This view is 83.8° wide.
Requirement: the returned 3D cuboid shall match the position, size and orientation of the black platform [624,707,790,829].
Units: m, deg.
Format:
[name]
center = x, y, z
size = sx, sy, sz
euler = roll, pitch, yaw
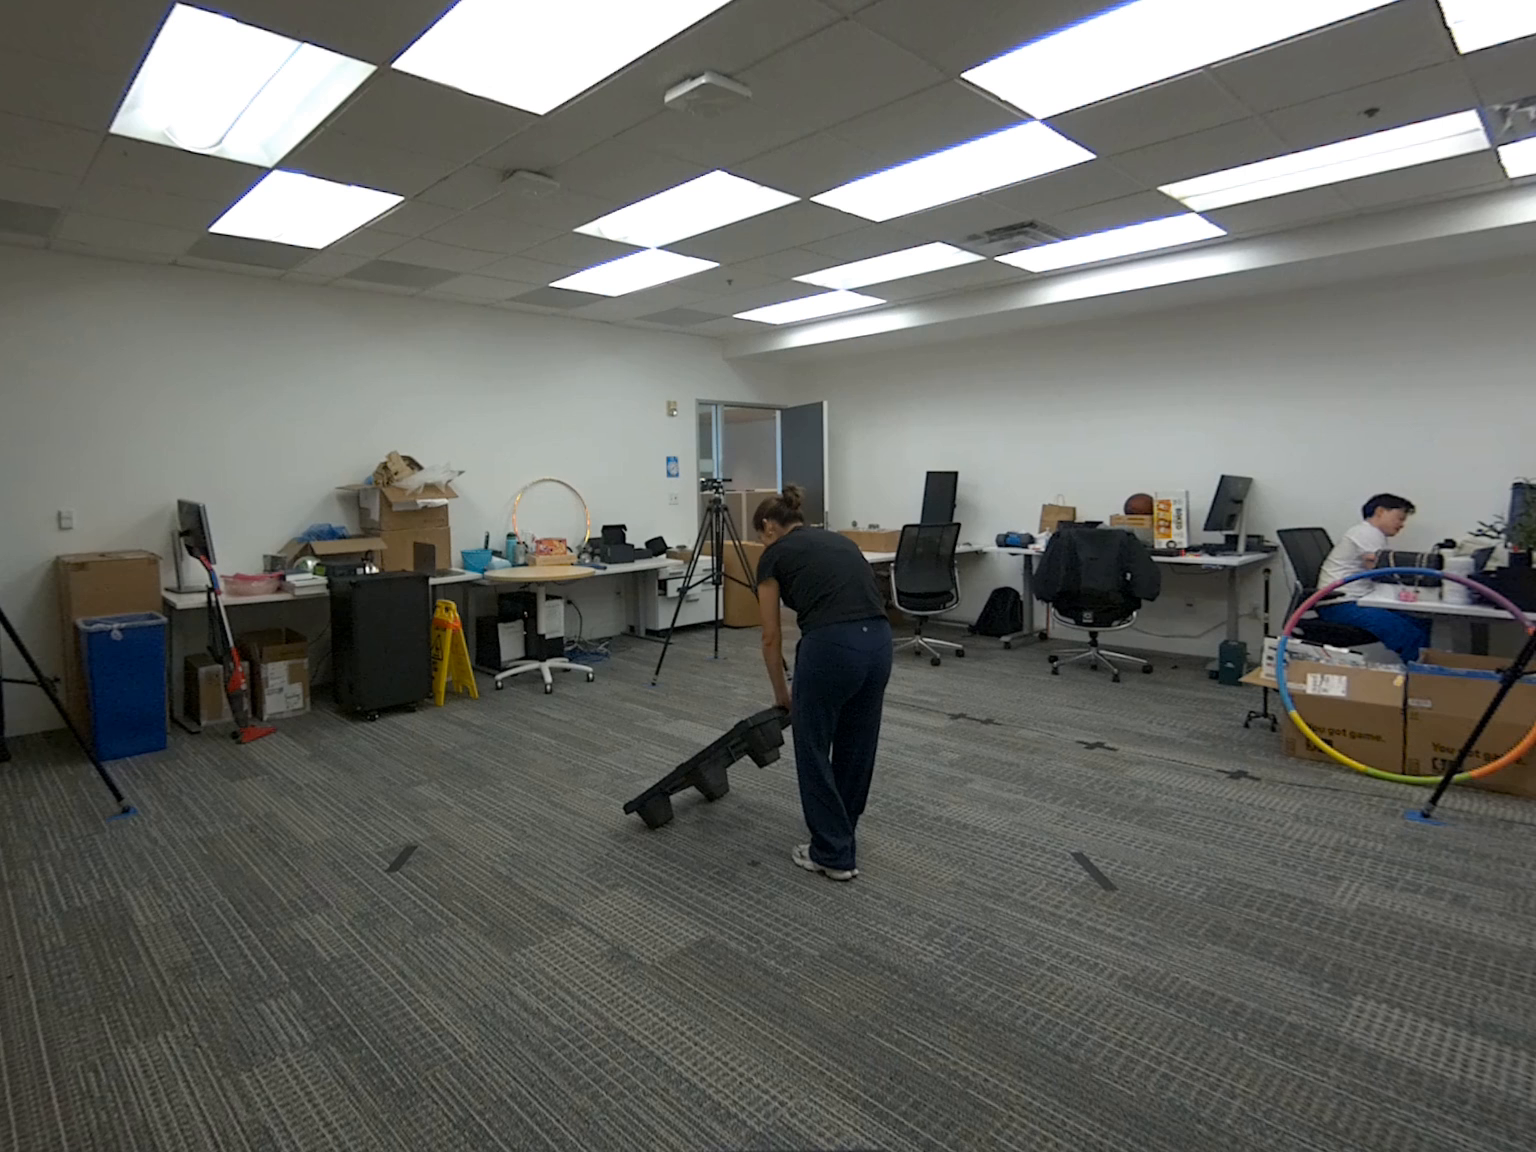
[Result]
[black platform]
center = -0.127, 0.739, 3.437
size = 0.808, 0.146, 0.591
euler = -40, -17, 31
